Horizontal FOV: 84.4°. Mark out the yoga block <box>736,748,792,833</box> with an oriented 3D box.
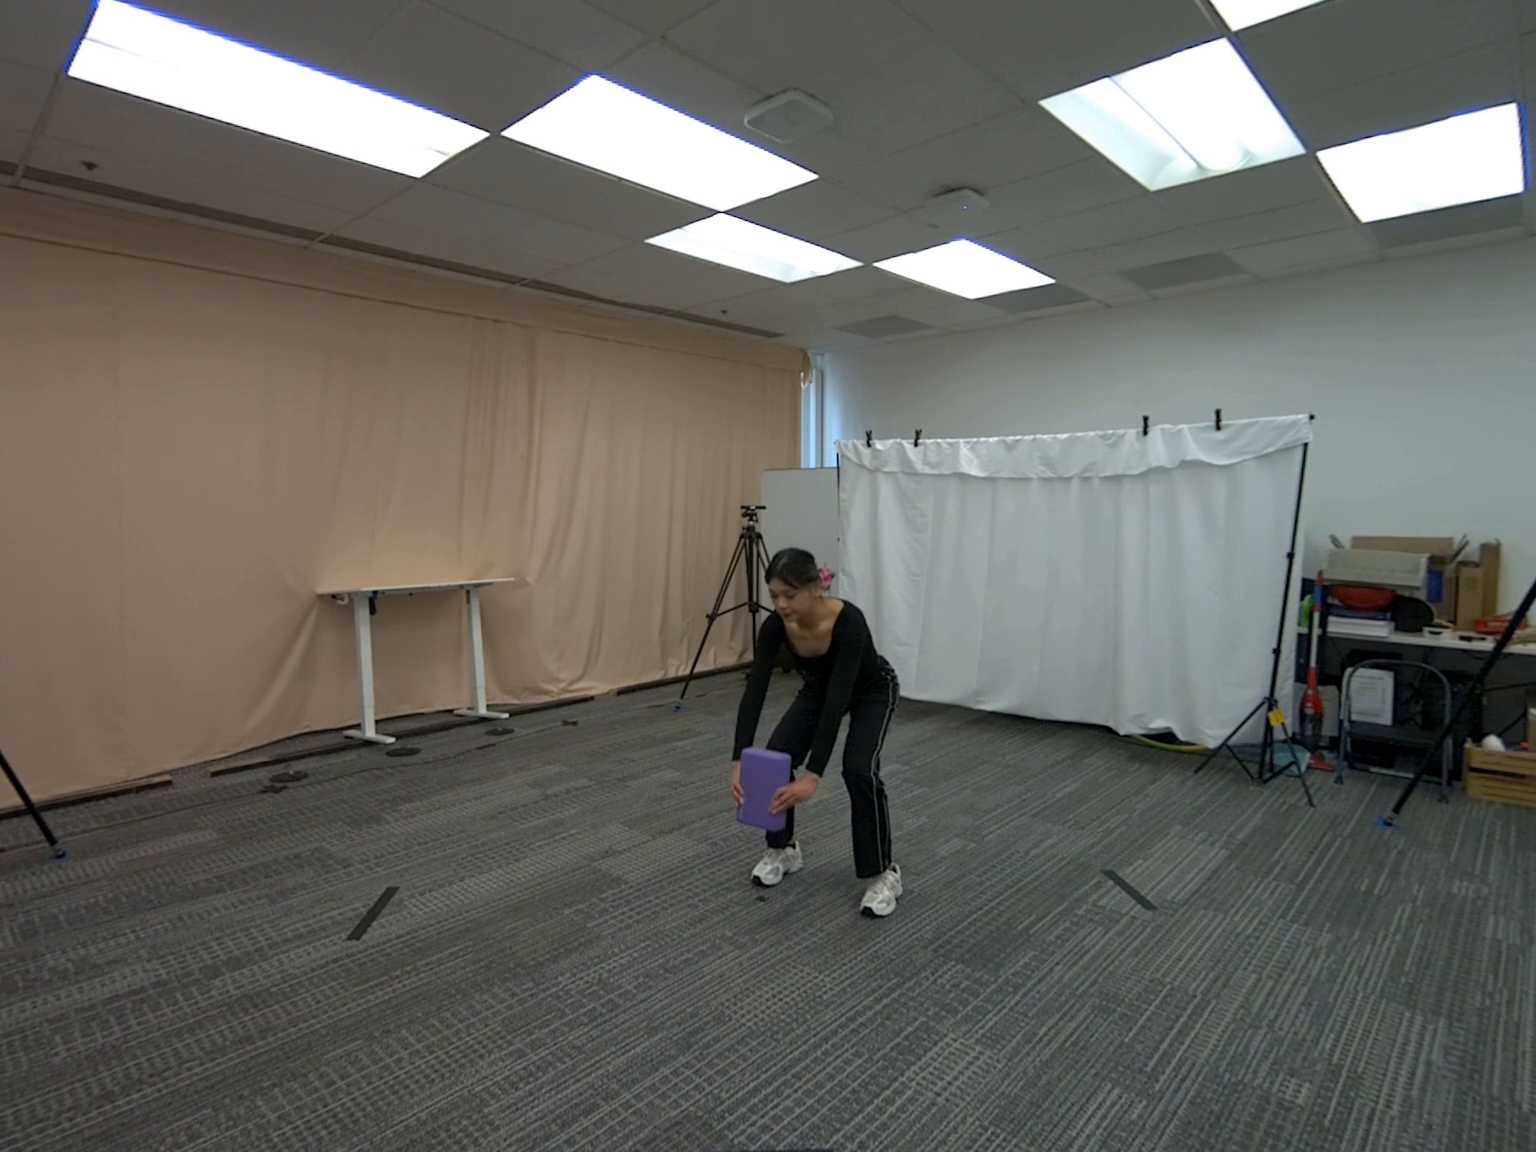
[{"bbox_3d":[-0.010,0.665,2.652,0.153,0.230,0.074,3,-3,27],"label":"yoga block"}]
